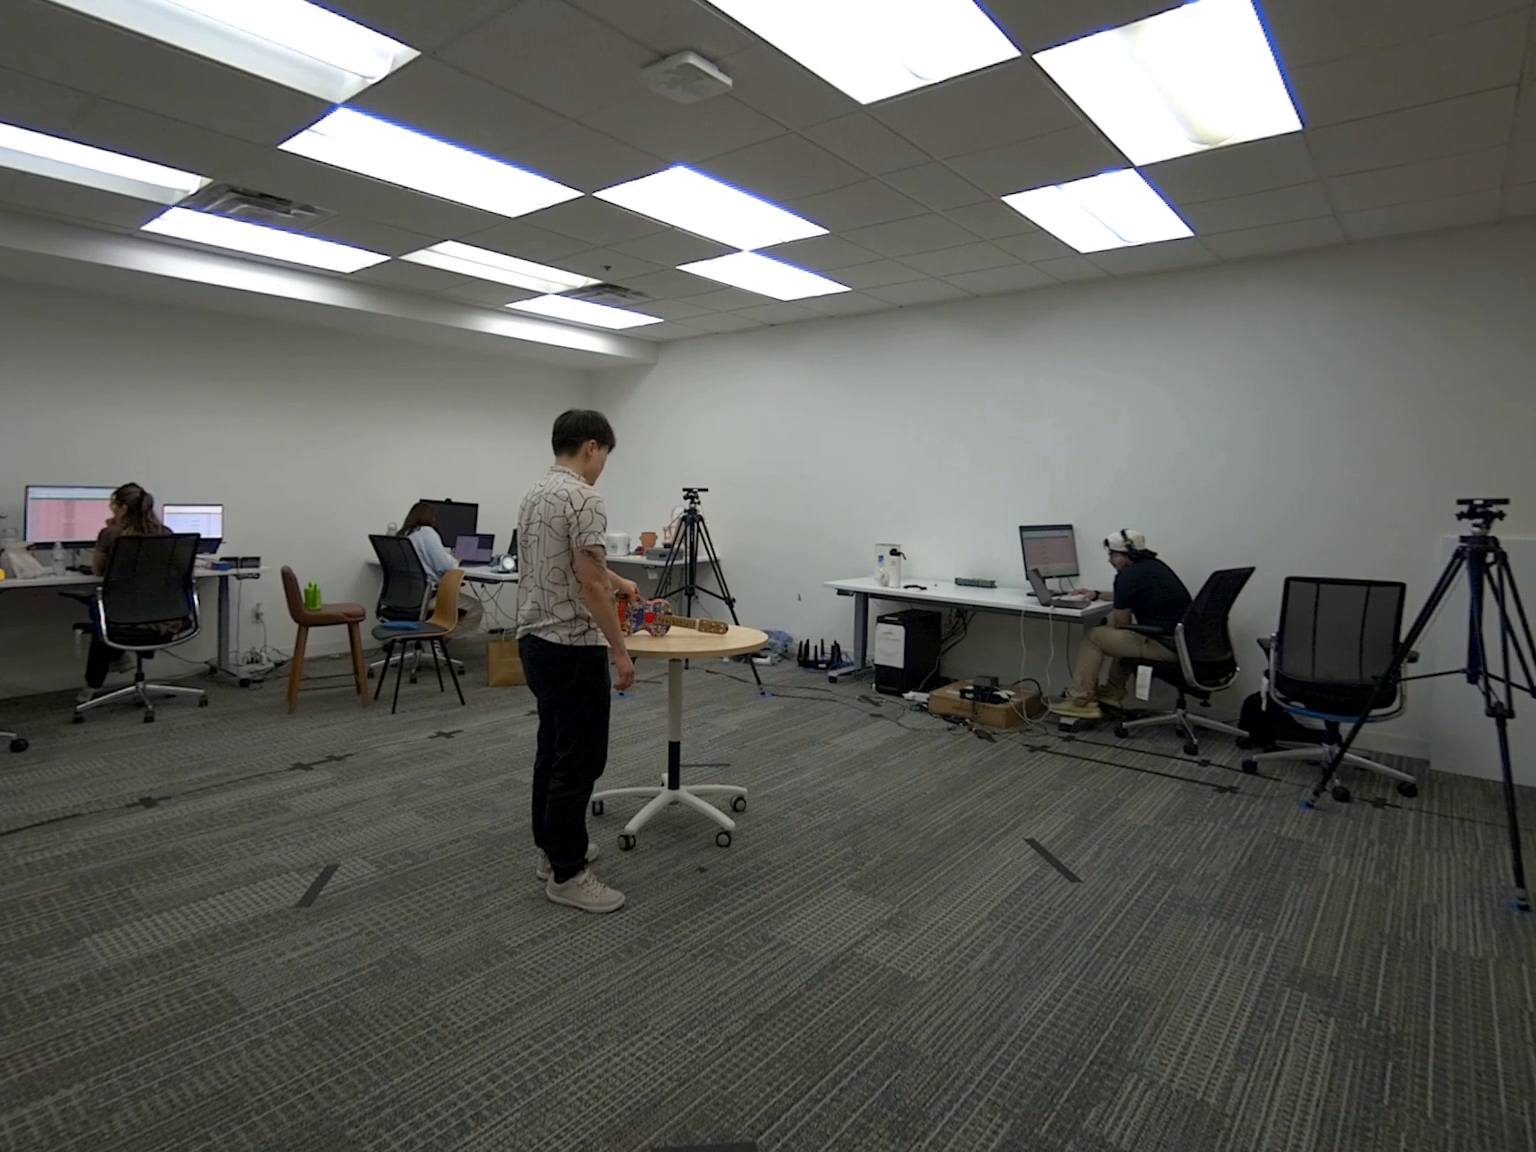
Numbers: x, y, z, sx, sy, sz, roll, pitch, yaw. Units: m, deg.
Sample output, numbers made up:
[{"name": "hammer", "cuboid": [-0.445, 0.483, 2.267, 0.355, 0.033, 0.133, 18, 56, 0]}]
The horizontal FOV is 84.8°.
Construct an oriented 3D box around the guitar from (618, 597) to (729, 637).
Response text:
[{"name": "guitar", "cuboid": [-0.437, 0.204, 3.497, 0.494, 0.193, 0.071, 19, 0, -5]}]
